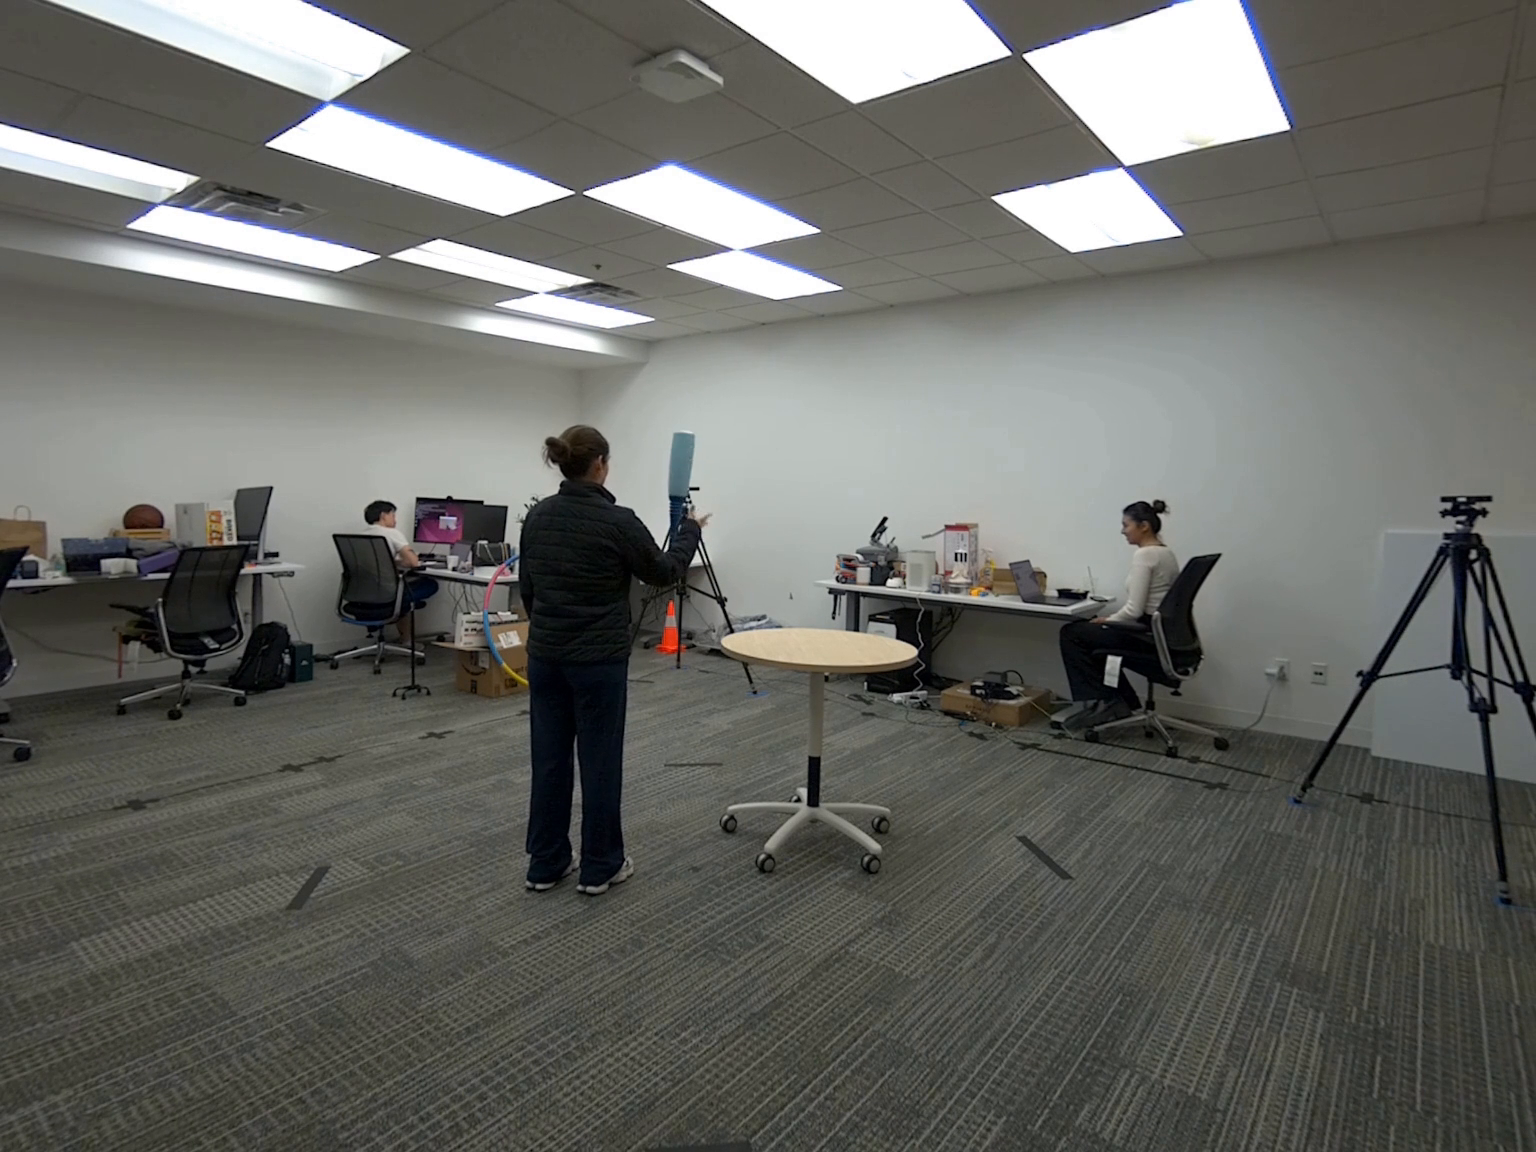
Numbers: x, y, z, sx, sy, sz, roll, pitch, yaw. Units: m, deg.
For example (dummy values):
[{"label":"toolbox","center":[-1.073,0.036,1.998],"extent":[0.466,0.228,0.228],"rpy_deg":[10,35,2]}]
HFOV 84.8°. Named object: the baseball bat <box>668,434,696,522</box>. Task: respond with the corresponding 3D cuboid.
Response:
[{"label":"baseball bat","center":[-0.341,-0.248,3.310],"extent":[0.089,0.541,0.089],"rpy_deg":[7,4,-3]}]
